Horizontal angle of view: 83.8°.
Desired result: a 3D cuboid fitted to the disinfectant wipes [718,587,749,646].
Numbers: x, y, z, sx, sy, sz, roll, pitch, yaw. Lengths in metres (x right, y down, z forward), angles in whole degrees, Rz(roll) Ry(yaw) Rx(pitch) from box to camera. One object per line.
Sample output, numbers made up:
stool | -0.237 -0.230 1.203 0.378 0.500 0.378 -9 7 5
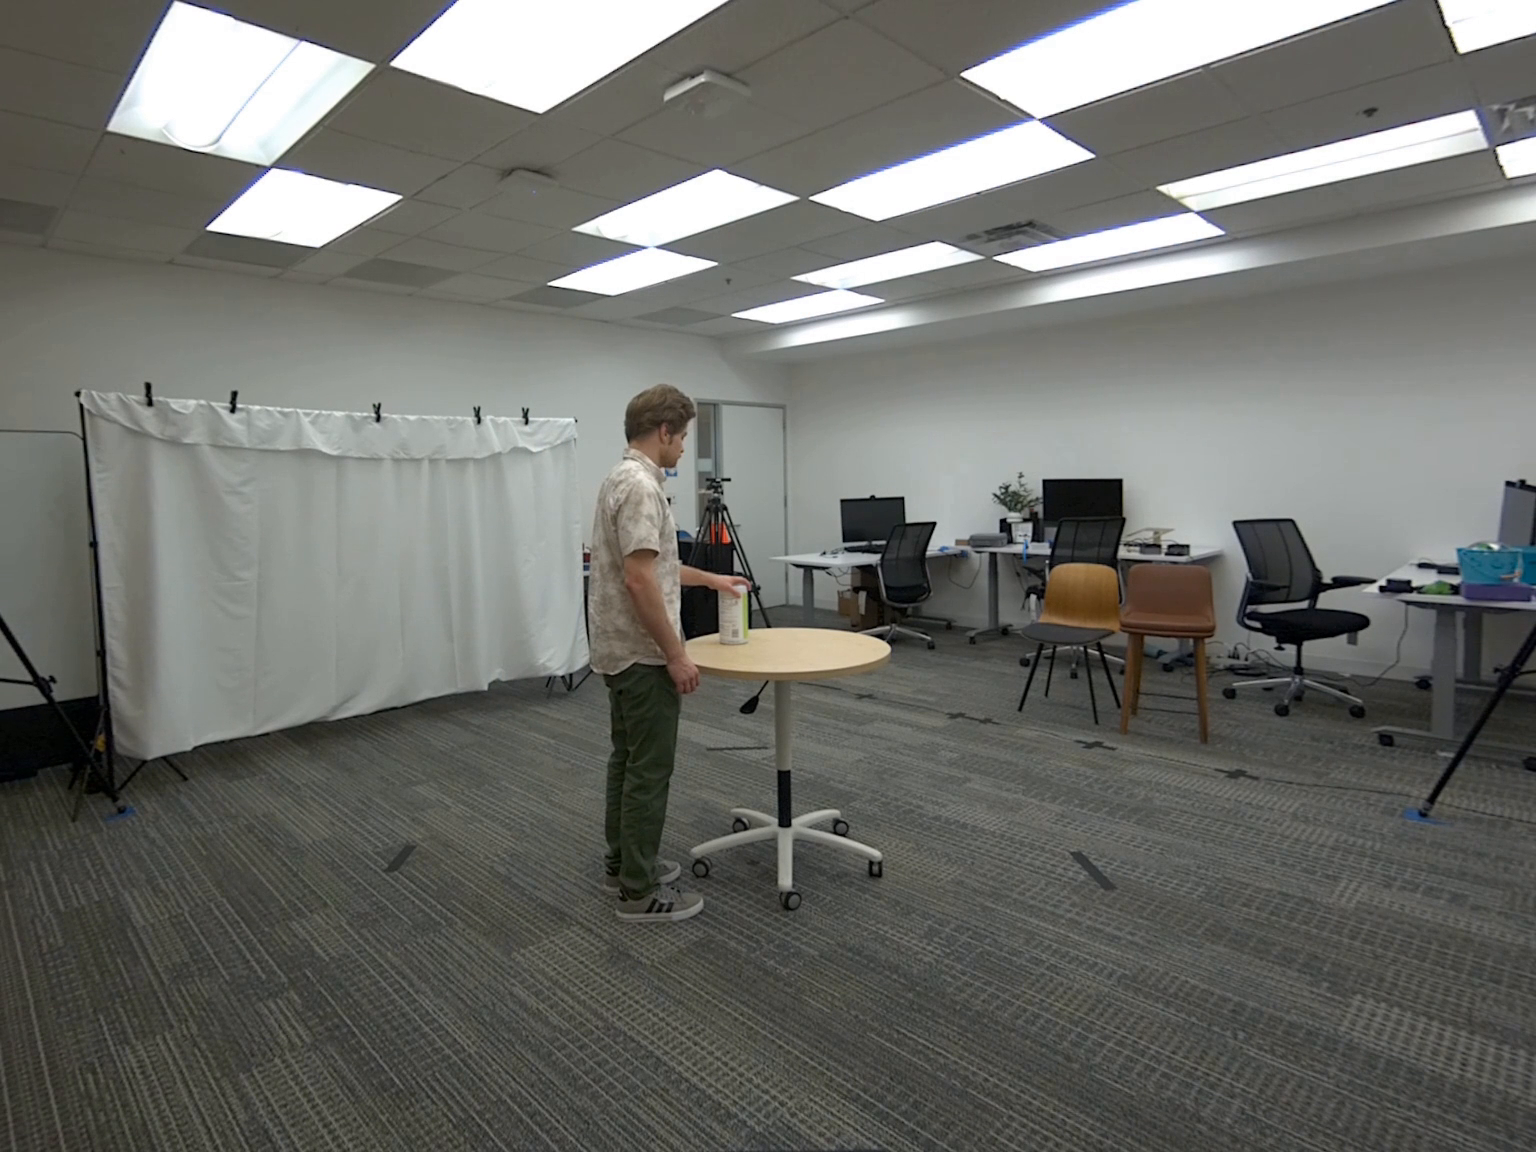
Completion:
disinfectant wipes | -0.130 0.140 3.164 0.118 0.217 0.118 -2 3 -2
